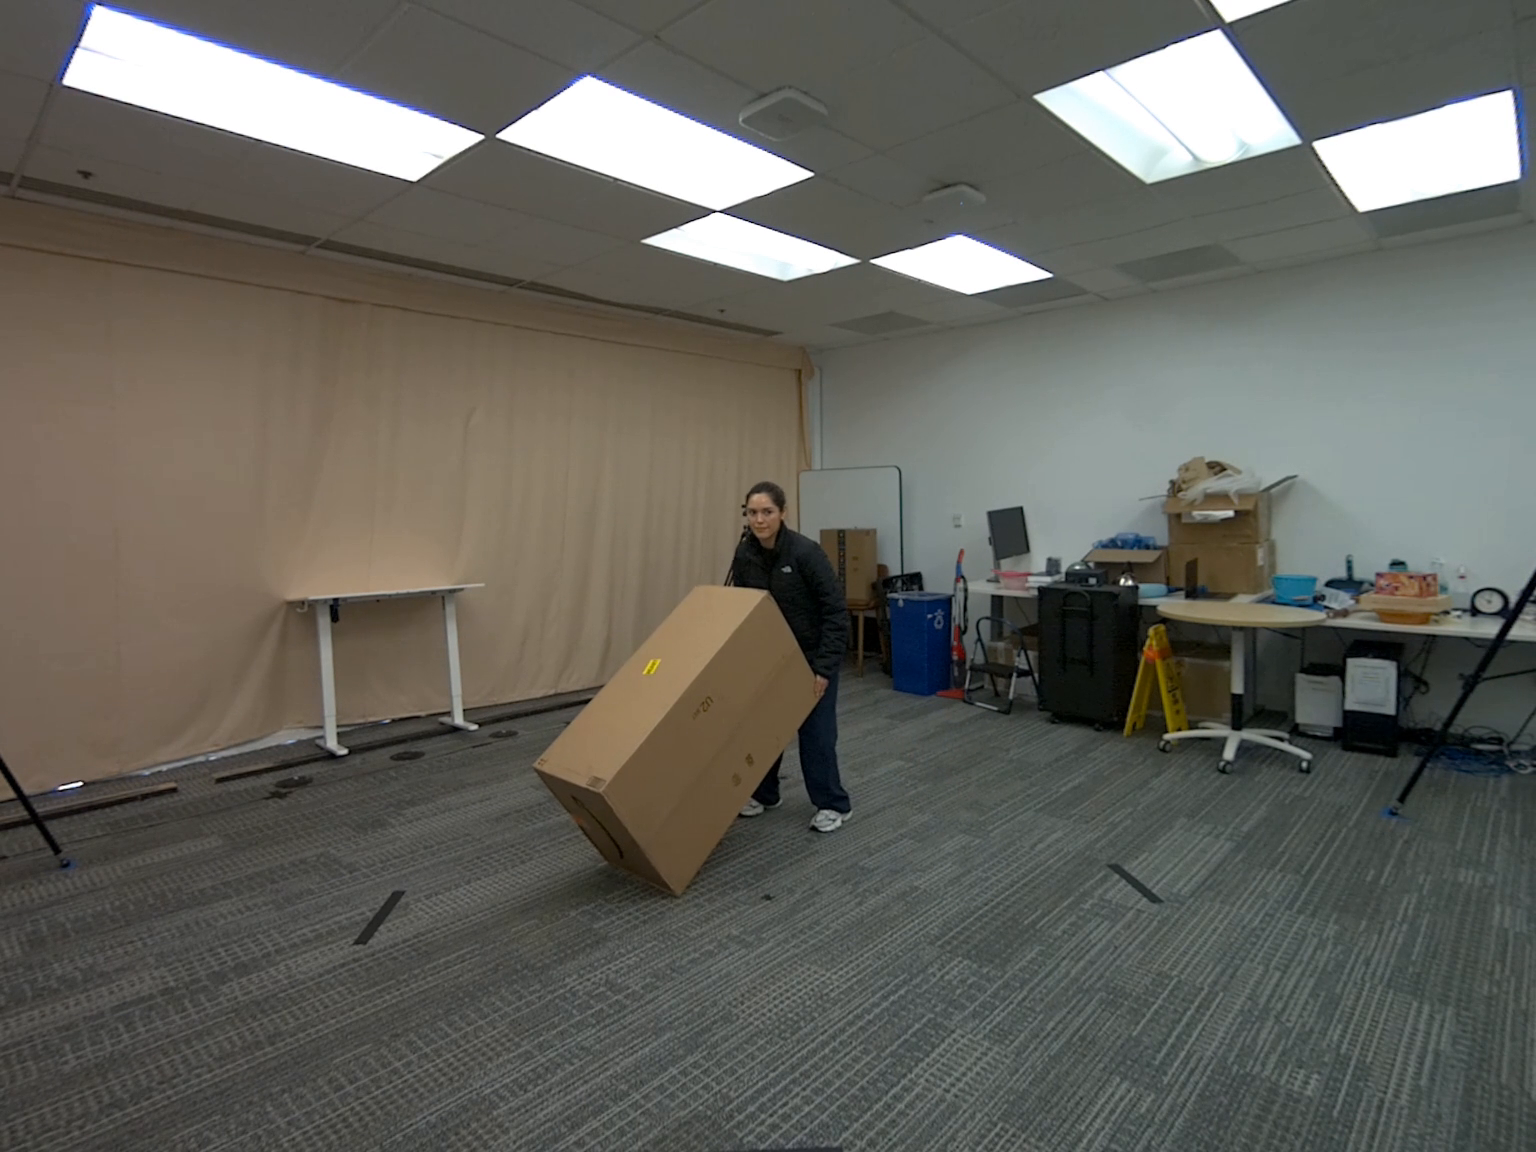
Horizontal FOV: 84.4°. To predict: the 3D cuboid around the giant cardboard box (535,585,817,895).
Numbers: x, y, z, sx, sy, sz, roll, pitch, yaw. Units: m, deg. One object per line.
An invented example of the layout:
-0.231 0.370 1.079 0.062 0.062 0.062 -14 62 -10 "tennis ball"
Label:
-0.302 0.590 3.292 0.461 0.569 1.020 1 40 45 "giant cardboard box"
